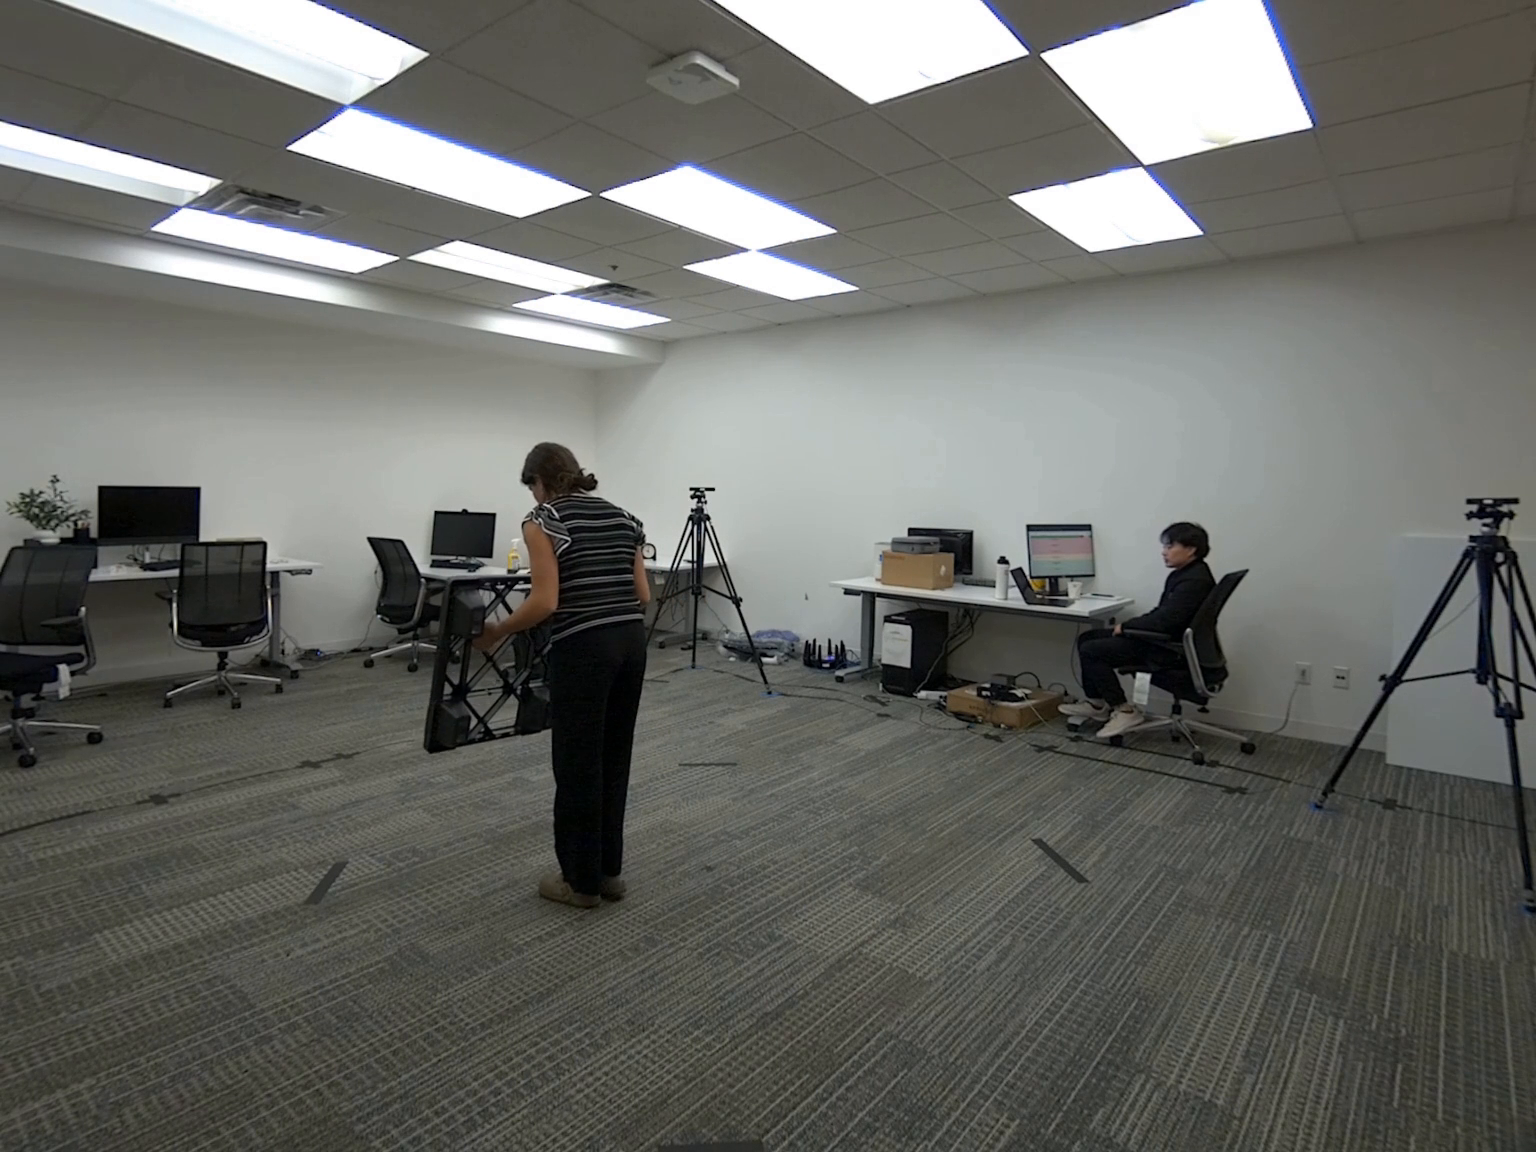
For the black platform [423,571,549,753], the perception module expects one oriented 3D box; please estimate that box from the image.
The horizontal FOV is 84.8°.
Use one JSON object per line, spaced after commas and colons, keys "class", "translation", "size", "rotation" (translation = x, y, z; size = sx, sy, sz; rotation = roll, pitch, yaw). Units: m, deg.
{"class": "black platform", "translation": [-0.788, 0.291, 2.999], "size": [0.149, 0.600, 0.781], "rotation": [19, 14, 39]}
